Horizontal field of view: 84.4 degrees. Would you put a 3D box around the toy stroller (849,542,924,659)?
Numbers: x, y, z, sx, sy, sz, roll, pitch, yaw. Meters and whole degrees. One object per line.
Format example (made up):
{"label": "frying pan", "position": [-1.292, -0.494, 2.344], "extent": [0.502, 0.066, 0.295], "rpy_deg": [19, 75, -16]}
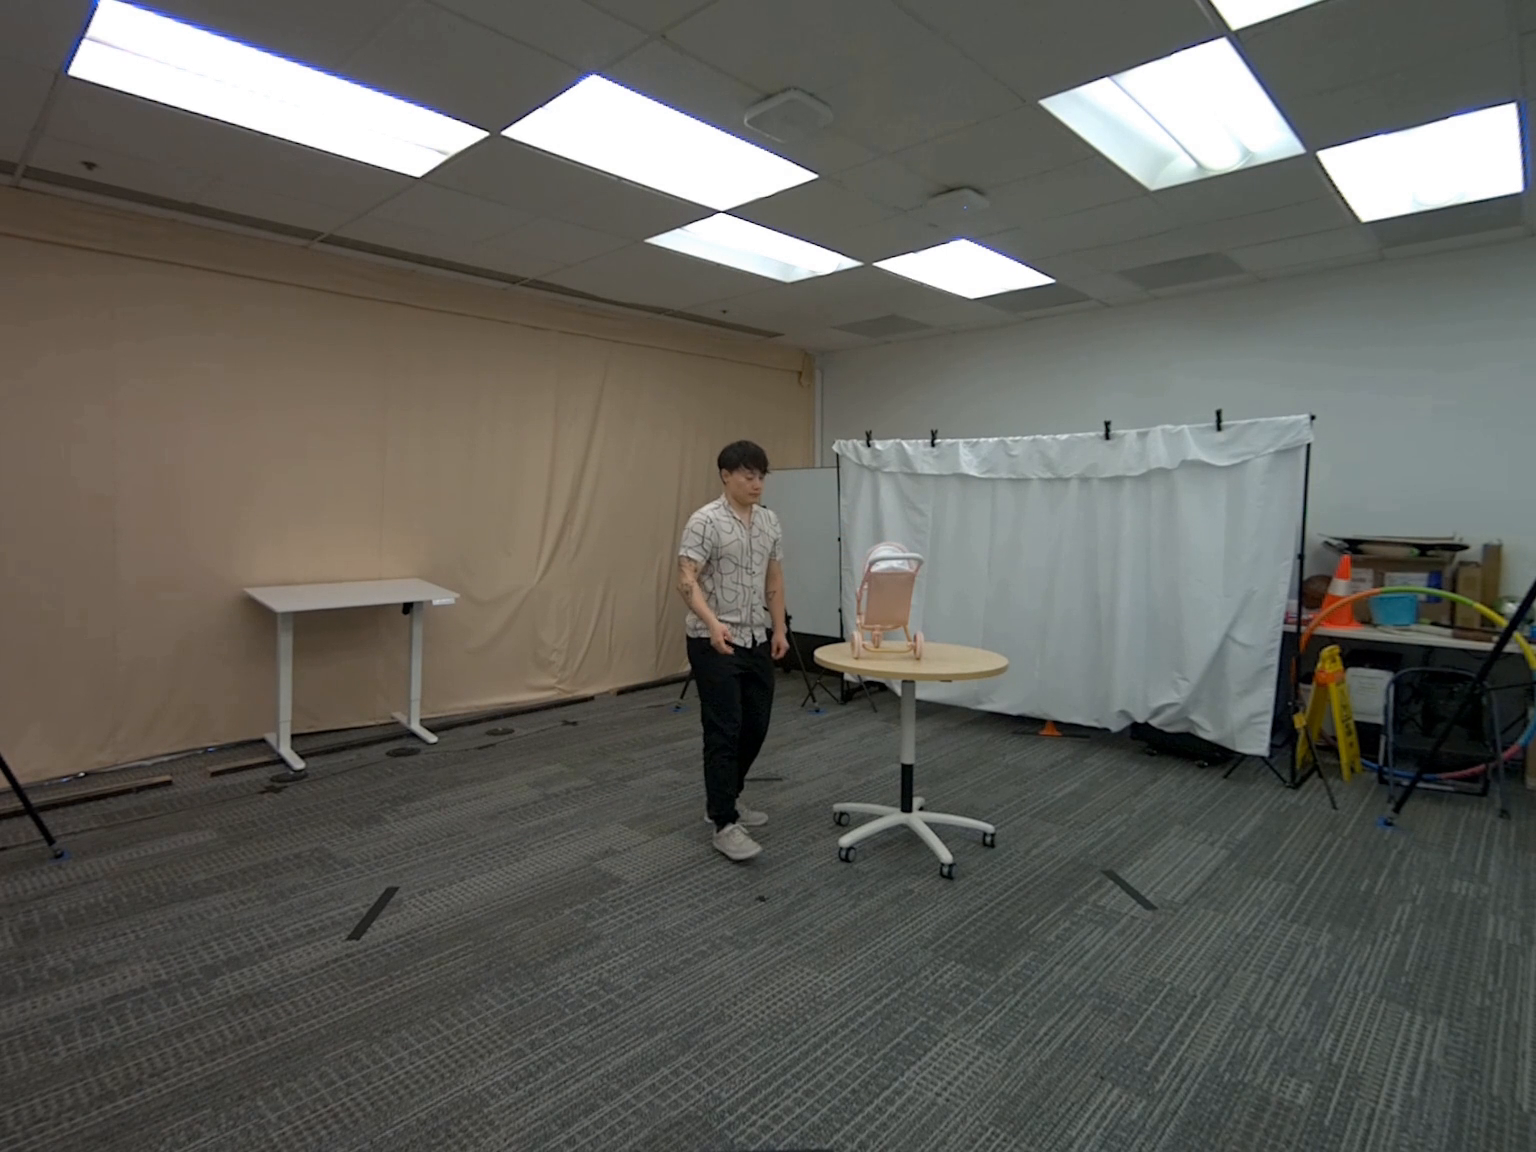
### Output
{"label": "toy stroller", "position": [0.478, 0.101, 3.392], "extent": [0.282, 0.528, 0.344], "rpy_deg": [1, 20, 2]}
